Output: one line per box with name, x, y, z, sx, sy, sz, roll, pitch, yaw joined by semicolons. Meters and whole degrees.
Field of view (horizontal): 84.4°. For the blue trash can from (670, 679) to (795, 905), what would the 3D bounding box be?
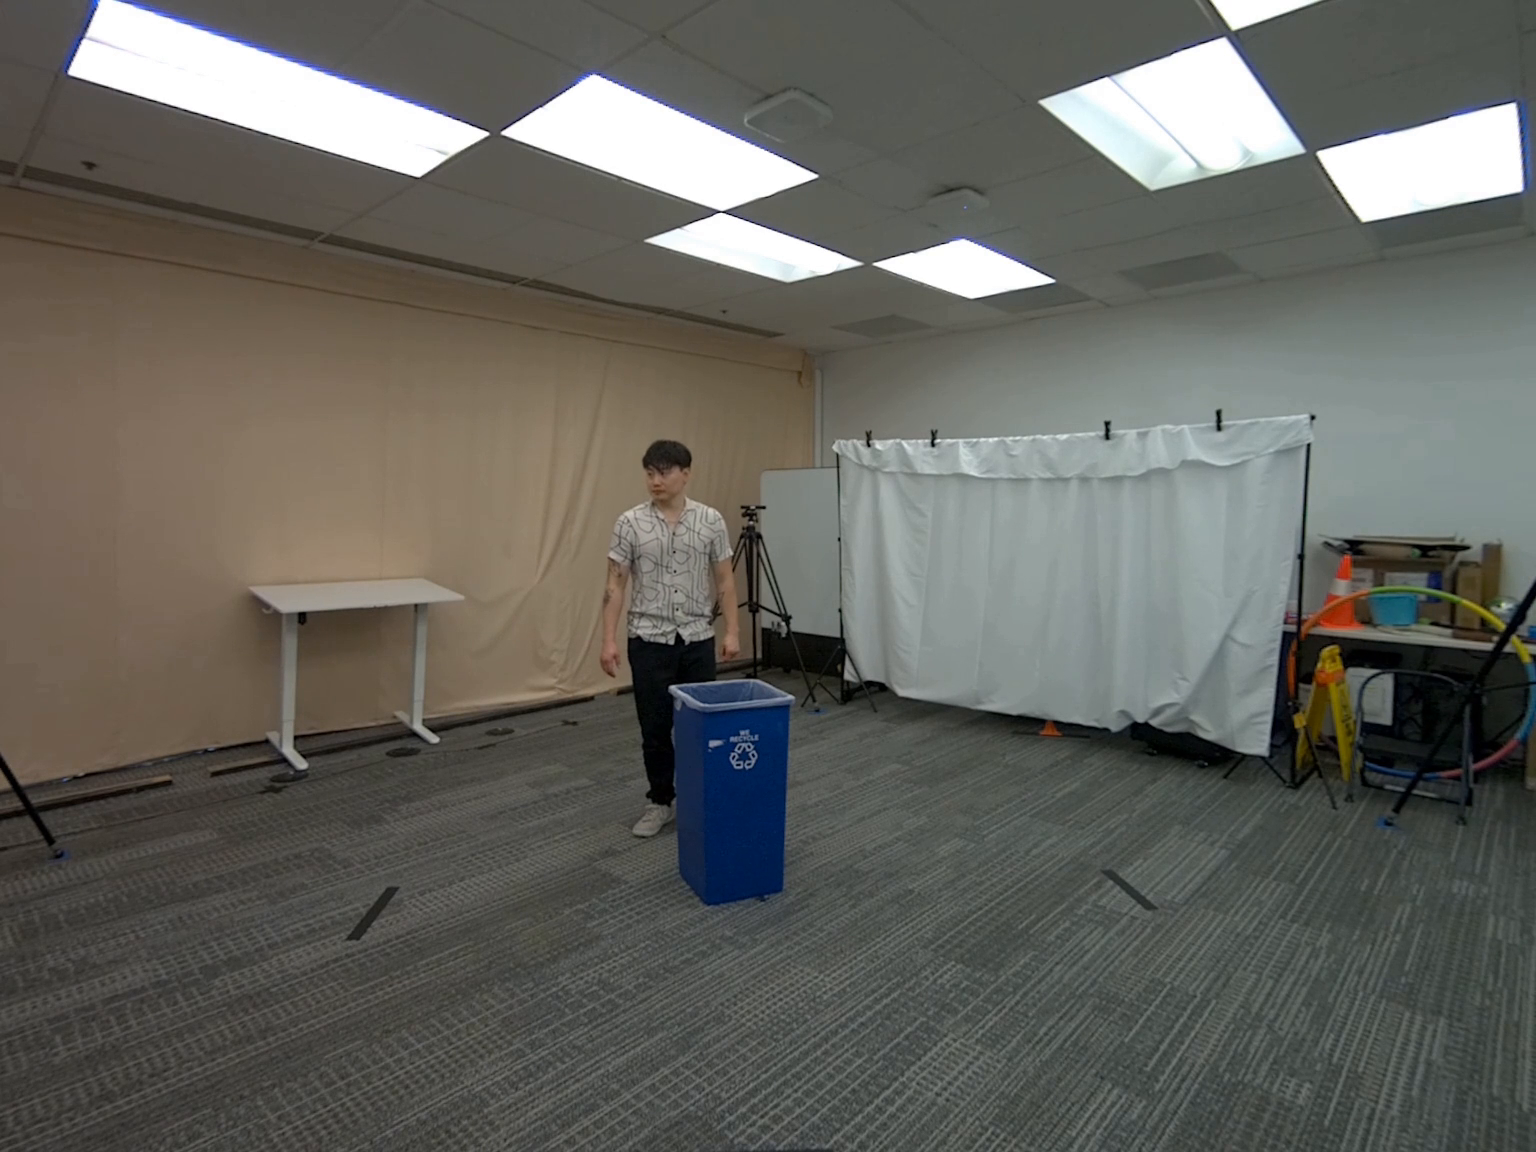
blue trash can;-0.130;0.777;3.099;0.369;0.712;0.384;-1;3;-26
